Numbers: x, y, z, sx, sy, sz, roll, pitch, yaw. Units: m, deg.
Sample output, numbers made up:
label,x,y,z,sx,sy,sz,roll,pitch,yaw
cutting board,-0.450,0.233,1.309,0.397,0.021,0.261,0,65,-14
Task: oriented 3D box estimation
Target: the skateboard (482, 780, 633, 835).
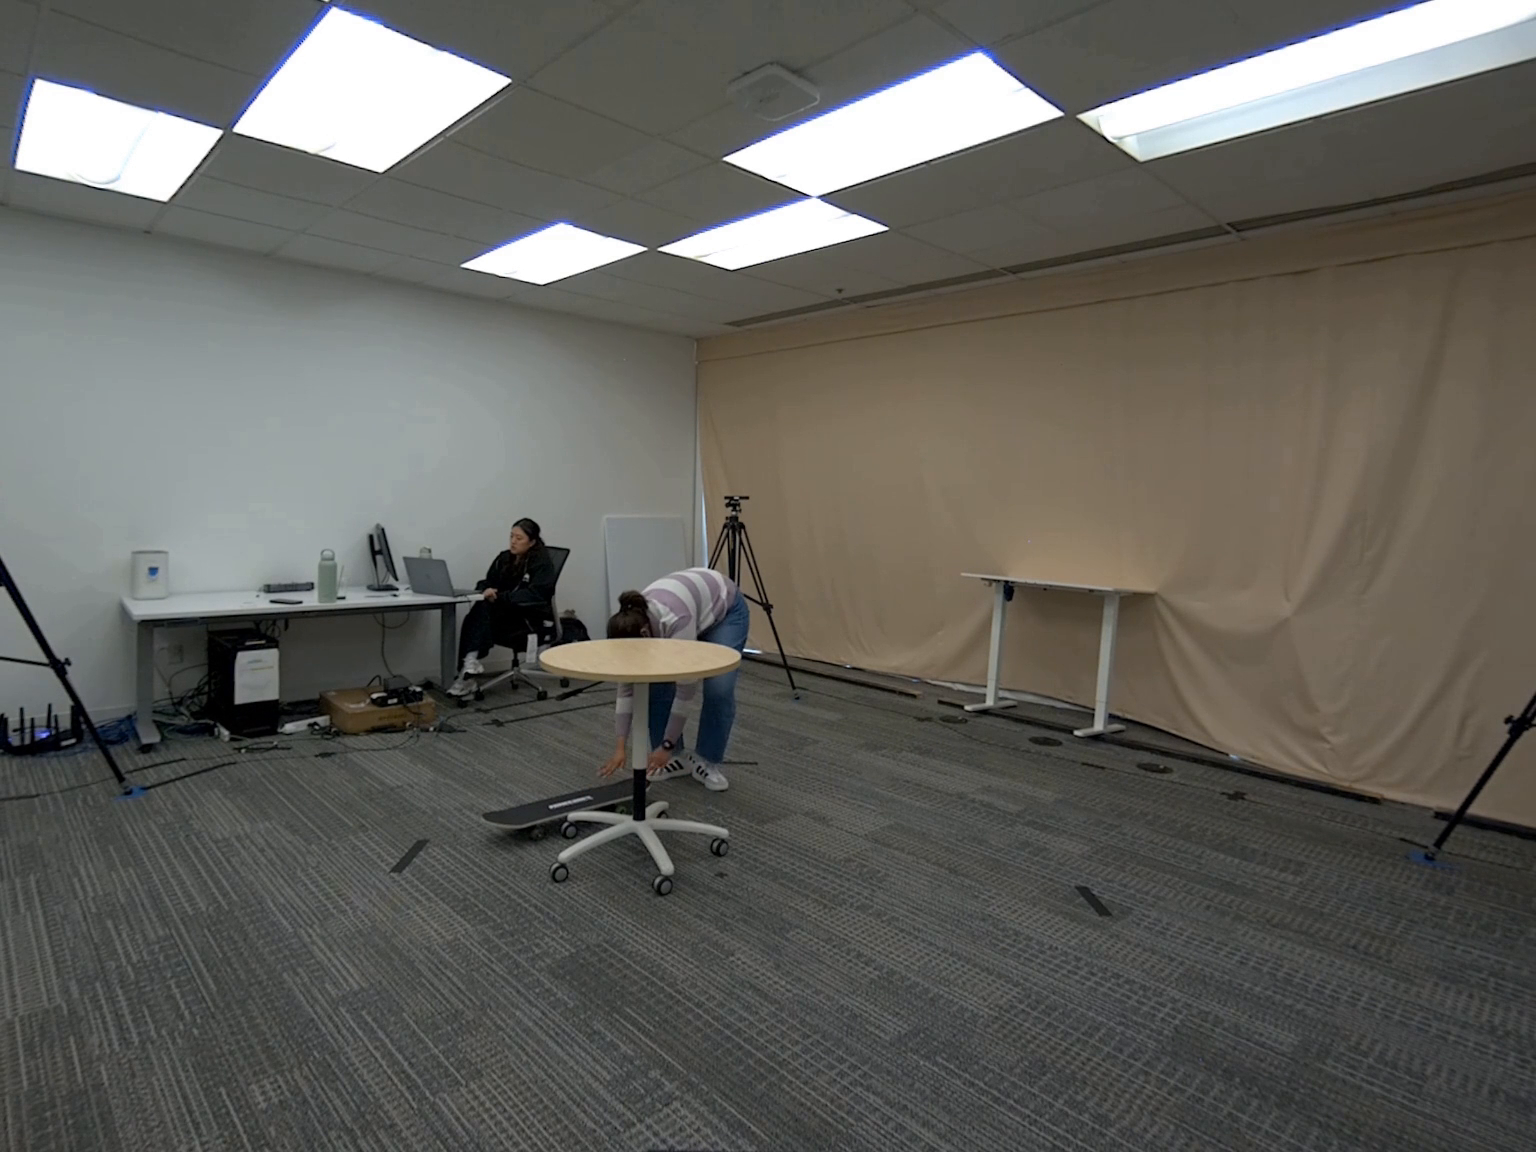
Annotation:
label,x,y,z,sx,sy,sz,roll,pitch,yaw
skateboard,-0.832,0.986,3.555,0.768,0.110,0.198,-3,7,-42
